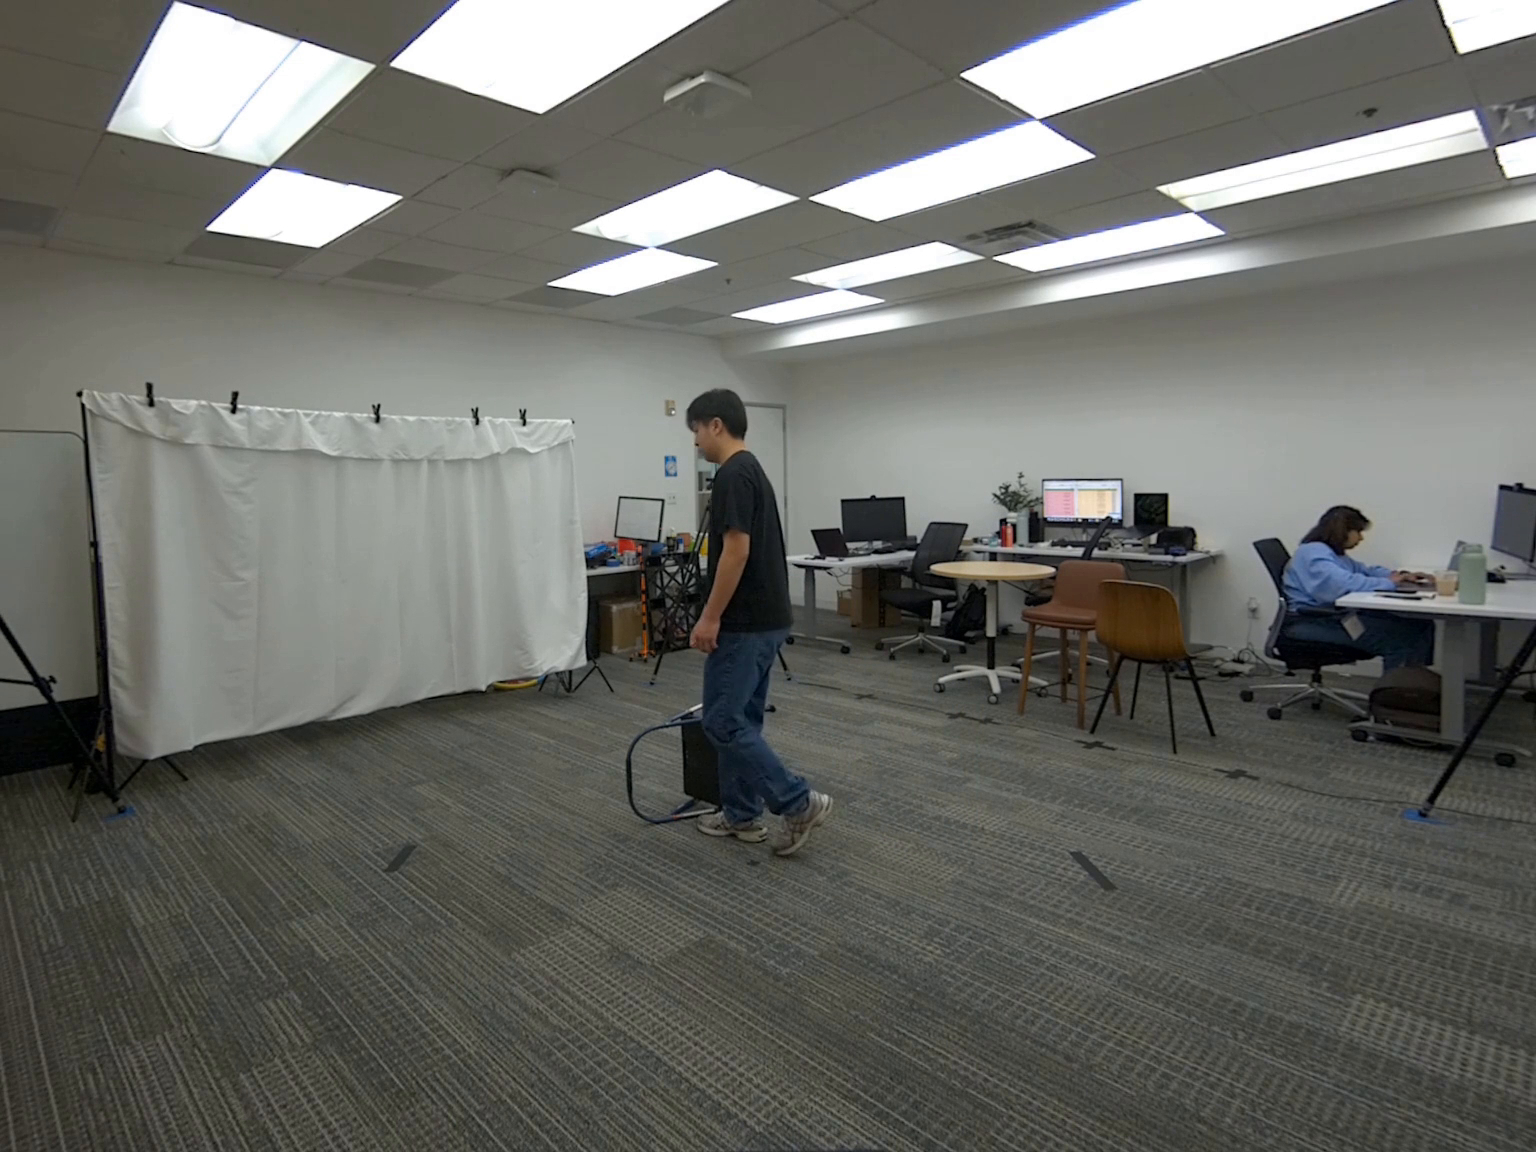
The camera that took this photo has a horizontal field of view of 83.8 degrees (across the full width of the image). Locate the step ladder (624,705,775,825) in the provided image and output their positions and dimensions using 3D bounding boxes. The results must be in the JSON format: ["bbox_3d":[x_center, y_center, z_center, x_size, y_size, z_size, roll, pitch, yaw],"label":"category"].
[{"bbox_3d":[-0.297,0.782,3.576,0.590,0.429,0.360,-7,6,-43],"label":"step ladder"}]
